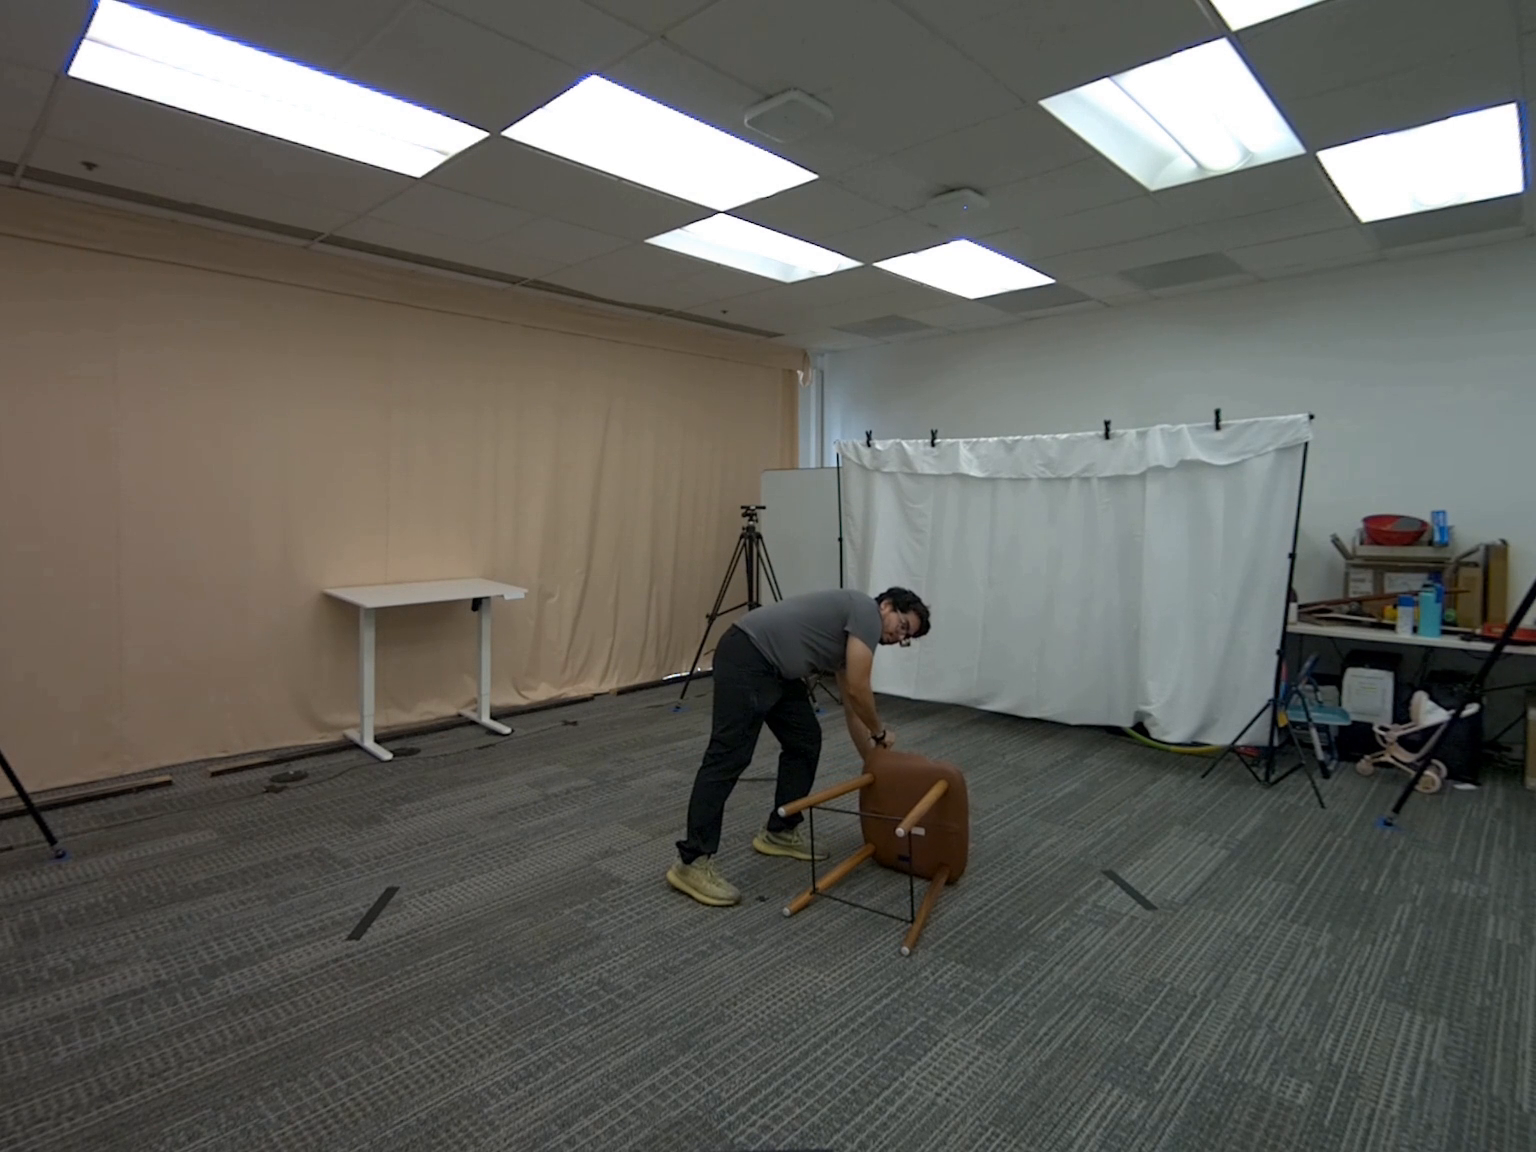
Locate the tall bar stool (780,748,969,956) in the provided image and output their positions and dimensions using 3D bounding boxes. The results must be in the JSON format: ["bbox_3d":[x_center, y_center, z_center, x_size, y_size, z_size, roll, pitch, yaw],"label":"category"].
[{"bbox_3d":[0.463,0.920,3.062,0.481,0.455,0.867,0,7,31],"label":"tall bar stool"}]
